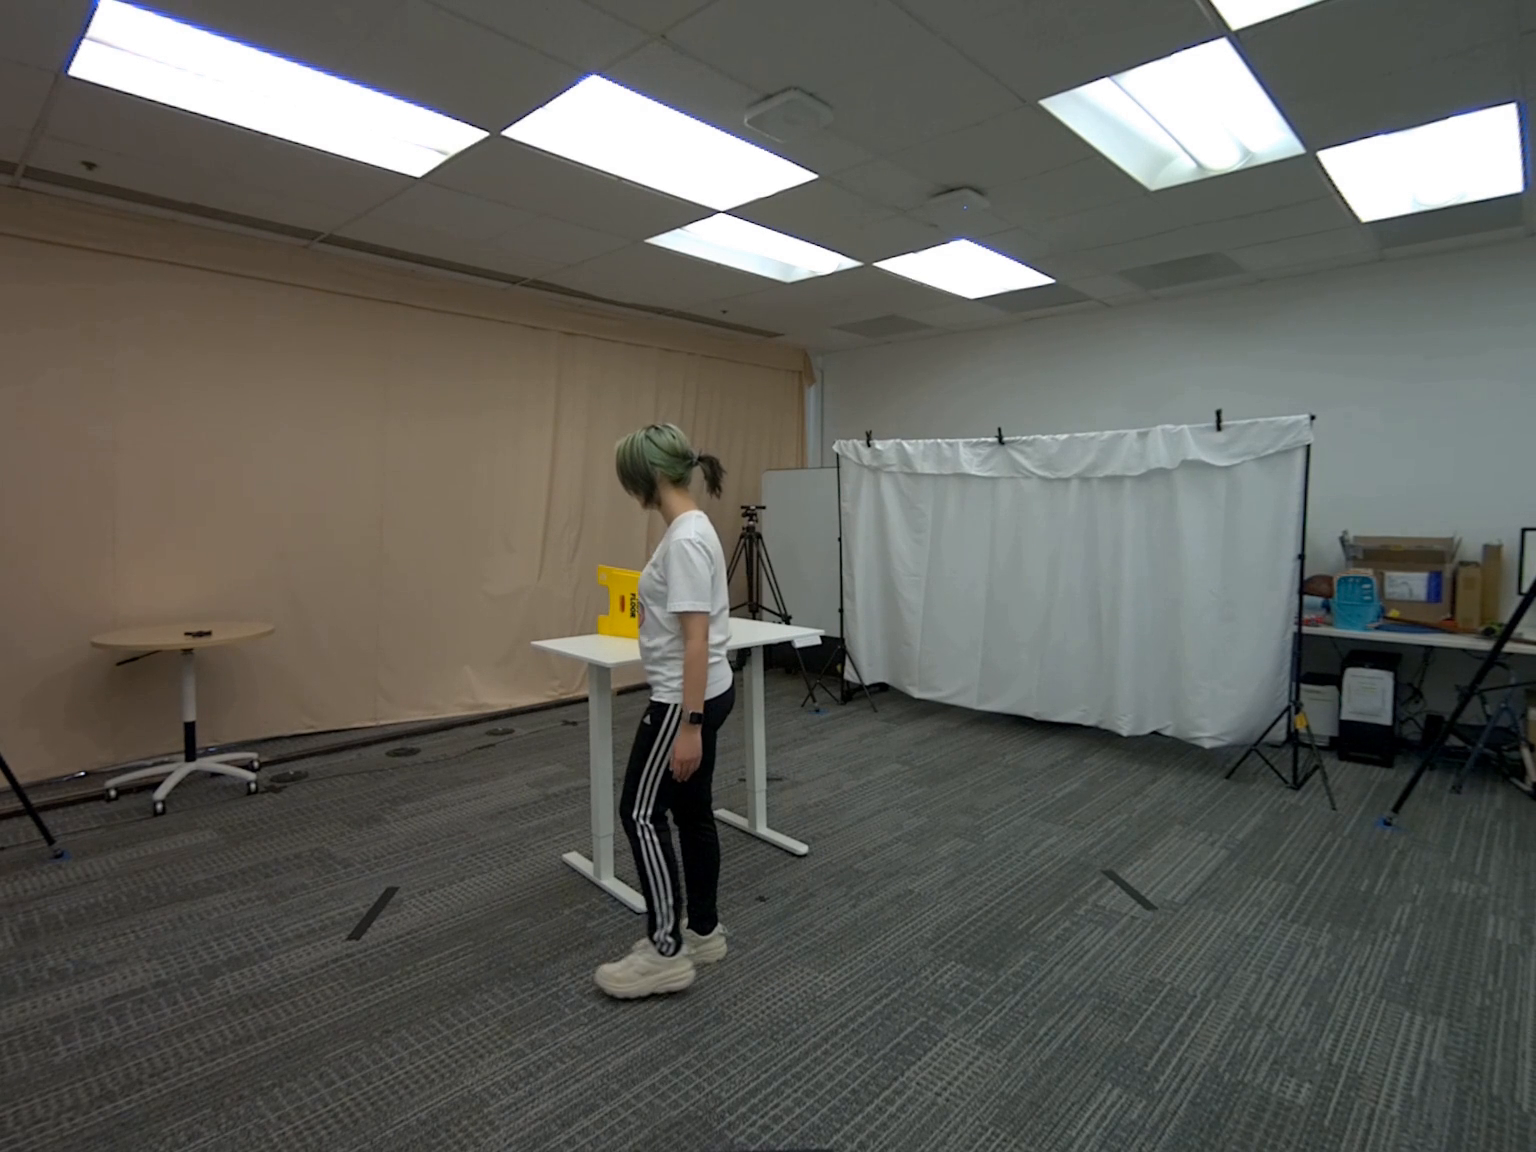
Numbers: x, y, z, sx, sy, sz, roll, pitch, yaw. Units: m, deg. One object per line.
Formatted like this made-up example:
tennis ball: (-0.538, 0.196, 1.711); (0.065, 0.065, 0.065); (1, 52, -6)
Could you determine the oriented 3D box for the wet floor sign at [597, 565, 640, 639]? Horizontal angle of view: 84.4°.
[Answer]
wet floor sign: (-0.381, 0.115, 3.232); (0.281, 0.281, 0.668); (-5, 7, -40)
